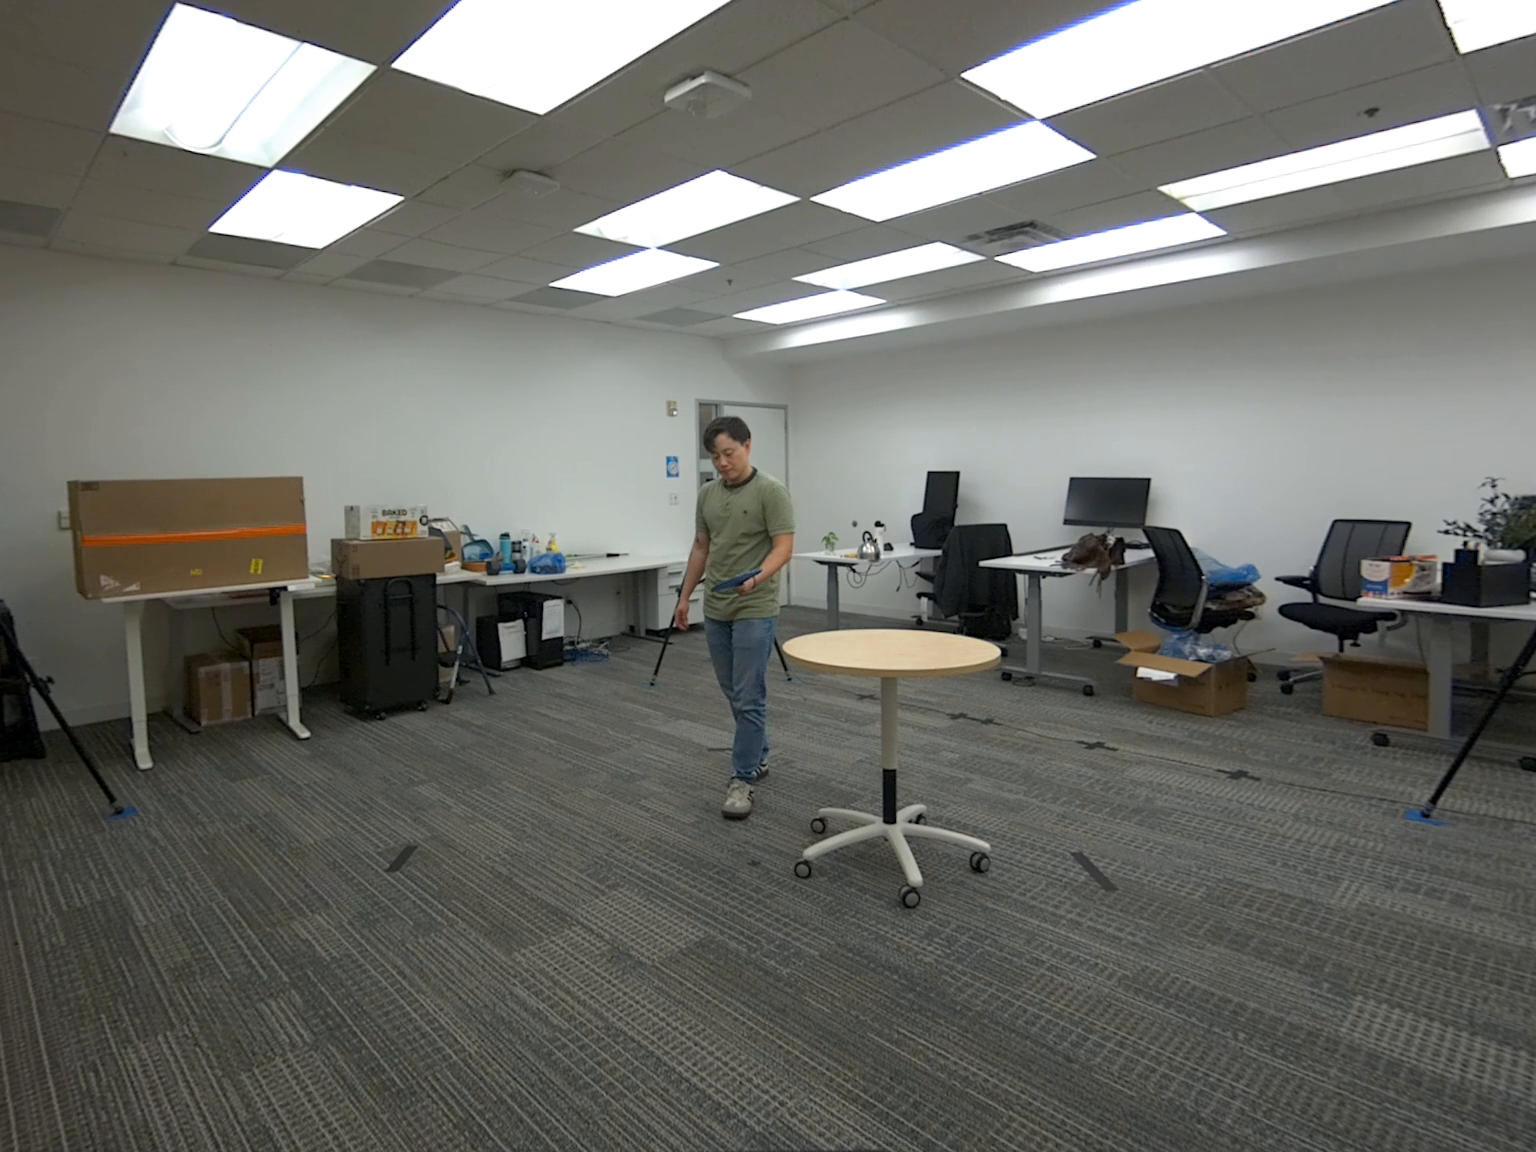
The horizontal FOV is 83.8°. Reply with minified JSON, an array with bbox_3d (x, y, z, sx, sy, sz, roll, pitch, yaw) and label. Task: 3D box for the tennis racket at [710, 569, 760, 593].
[{"bbox_3d":[-0.120,0.025,3.359,0.213,0.032,0.430,-22,-5,-4],"label":"tennis racket"}]
